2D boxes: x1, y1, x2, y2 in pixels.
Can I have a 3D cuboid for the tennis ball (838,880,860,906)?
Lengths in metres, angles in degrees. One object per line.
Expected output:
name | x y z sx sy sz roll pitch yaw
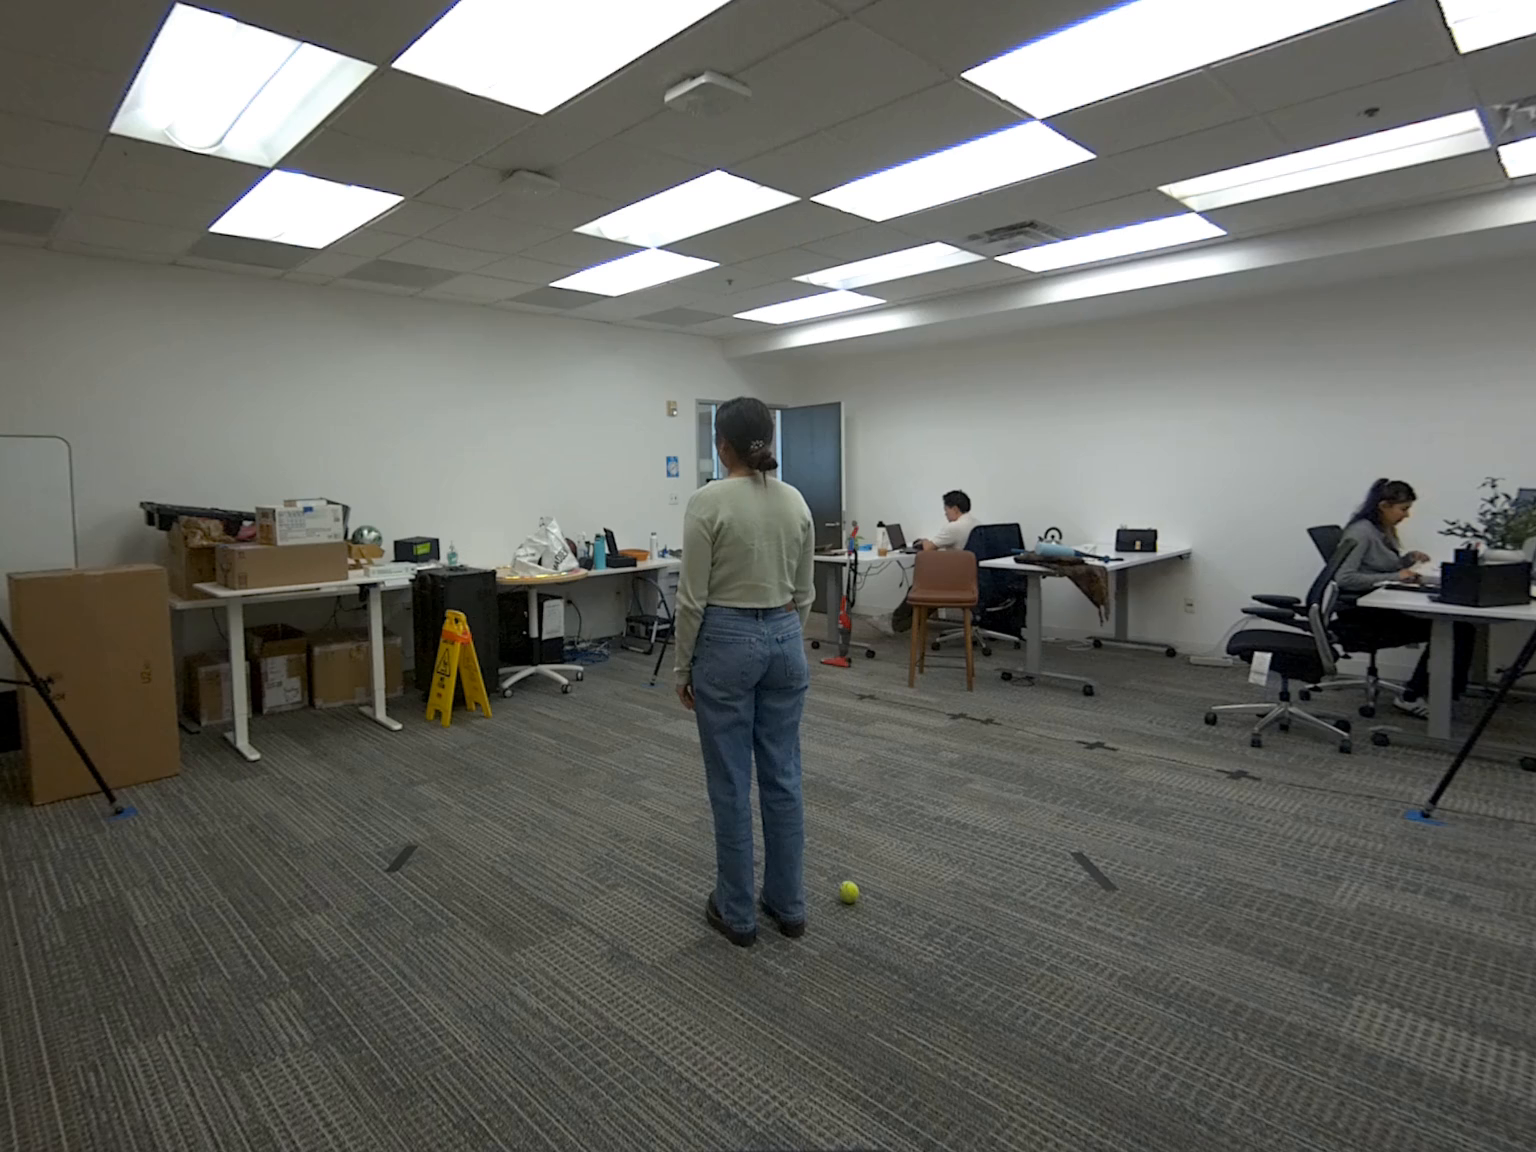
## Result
tennis ball | 0.274 1.029 2.807 0.066 0.066 0.067 -1 5 -2
